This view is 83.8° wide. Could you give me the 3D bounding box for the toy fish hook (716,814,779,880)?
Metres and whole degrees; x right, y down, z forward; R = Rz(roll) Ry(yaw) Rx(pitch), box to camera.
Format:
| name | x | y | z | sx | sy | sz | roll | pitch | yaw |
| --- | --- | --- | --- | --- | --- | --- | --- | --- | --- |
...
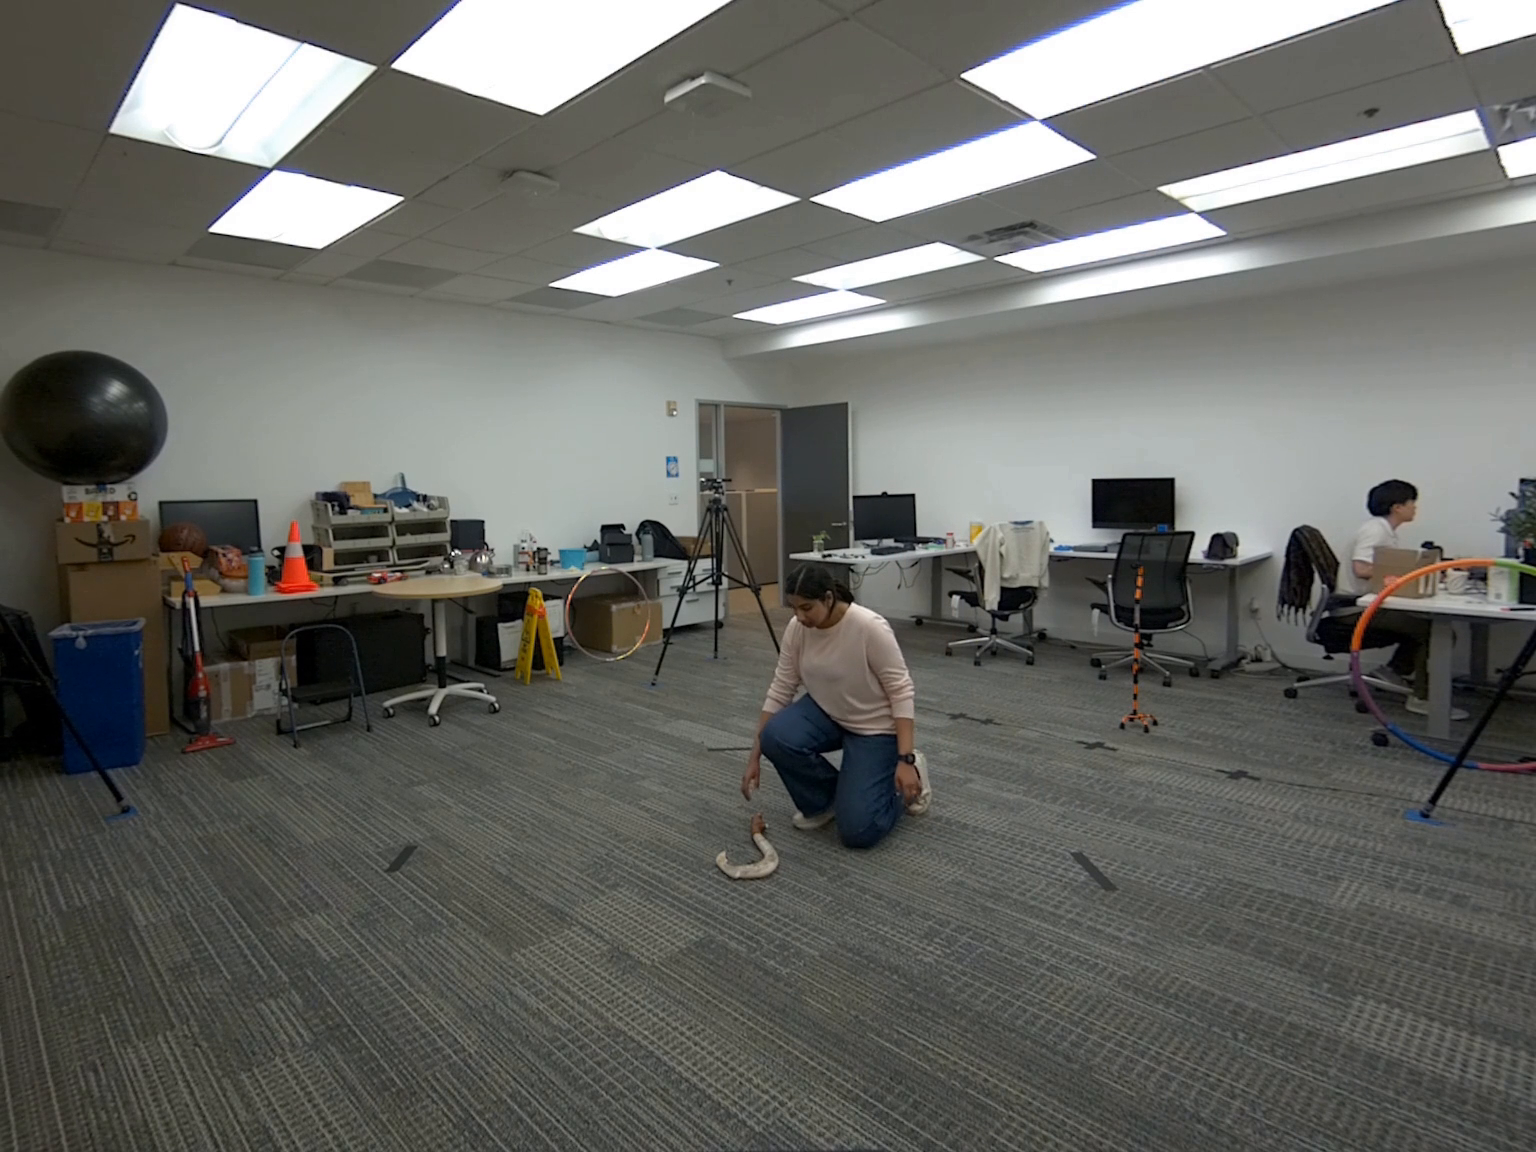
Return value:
| name | x | y | z | sx | sy | sz | roll | pitch | yaw |
| --- | --- | --- | --- | --- | --- | --- | --- | --- | --- |
| toy fish hook | -0.081 | 1.007 | 3.221 | 0.224 | 0.048 | 0.509 | -1 | 6 | -3 |
